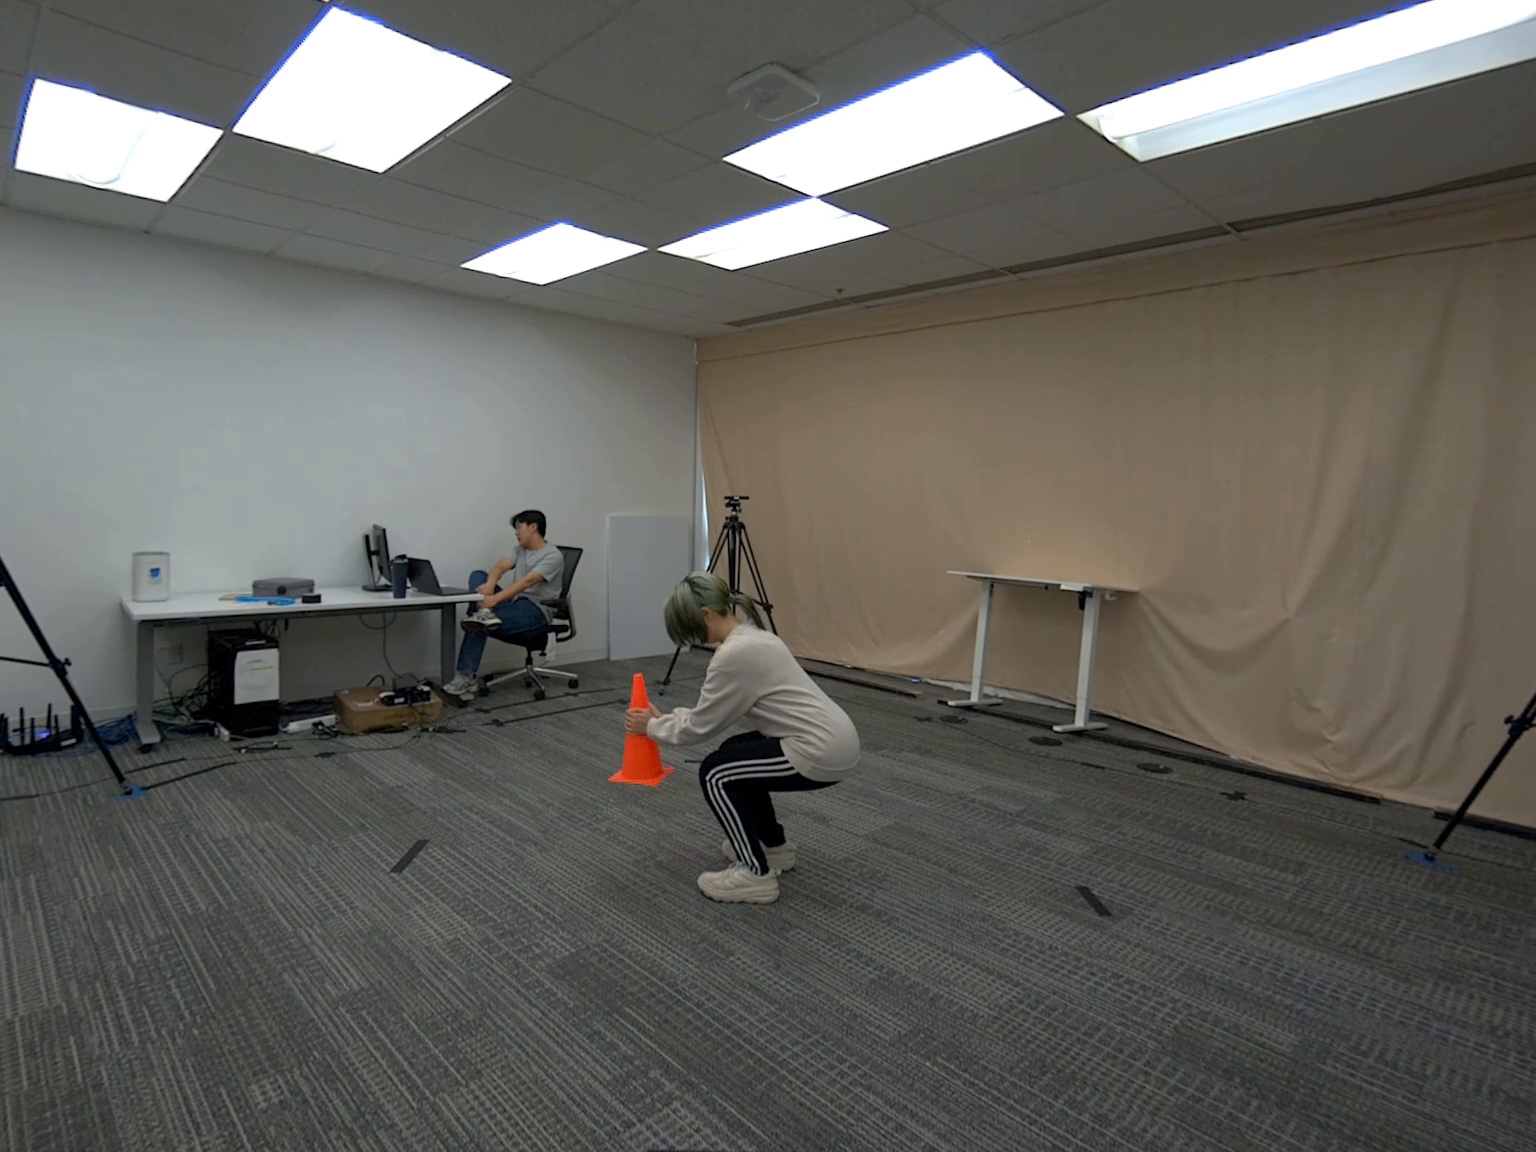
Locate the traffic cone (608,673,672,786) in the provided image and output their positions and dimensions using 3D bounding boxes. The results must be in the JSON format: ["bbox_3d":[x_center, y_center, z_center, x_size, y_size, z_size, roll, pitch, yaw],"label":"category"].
[{"bbox_3d":[-0.481,0.557,3.173,0.207,0.383,0.202,0,3,21],"label":"traffic cone"}]
